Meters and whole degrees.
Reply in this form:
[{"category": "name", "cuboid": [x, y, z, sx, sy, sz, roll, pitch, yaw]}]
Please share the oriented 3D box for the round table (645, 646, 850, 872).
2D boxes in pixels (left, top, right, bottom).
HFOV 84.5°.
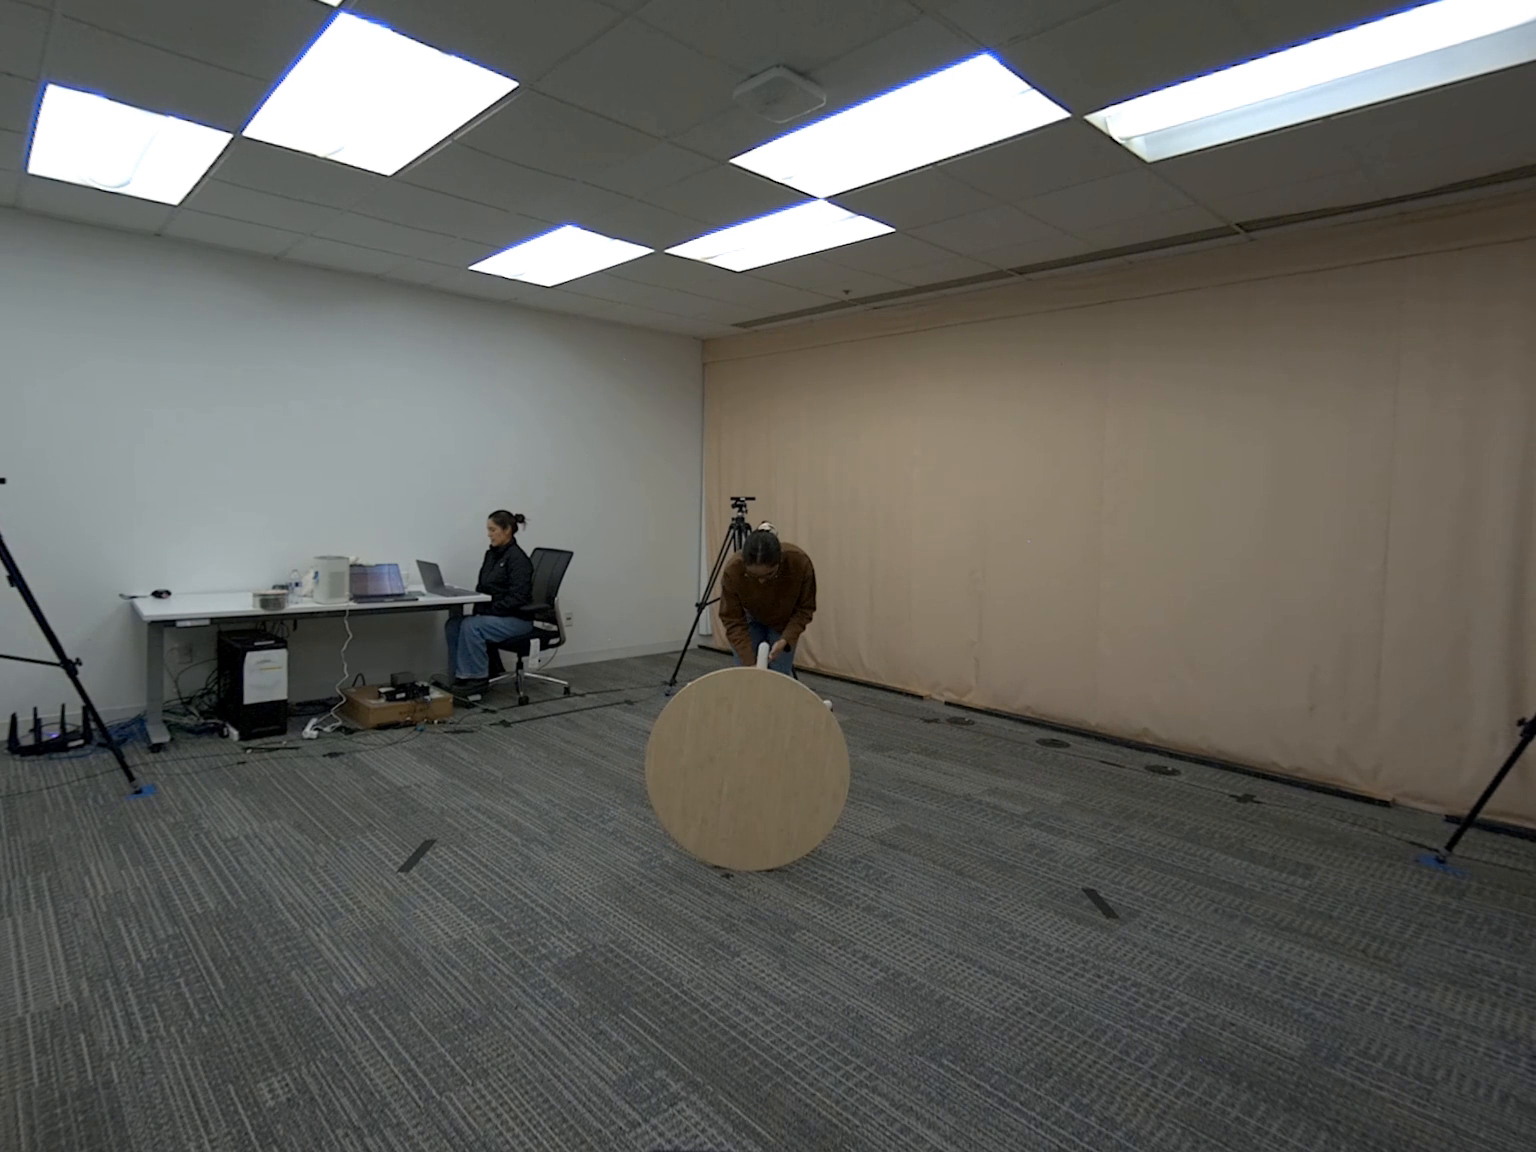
[{"category": "round table", "cuboid": [-0.074, 0.684, 3.521, 0.767, 0.761, 0.793, 2, 5, 4]}]
